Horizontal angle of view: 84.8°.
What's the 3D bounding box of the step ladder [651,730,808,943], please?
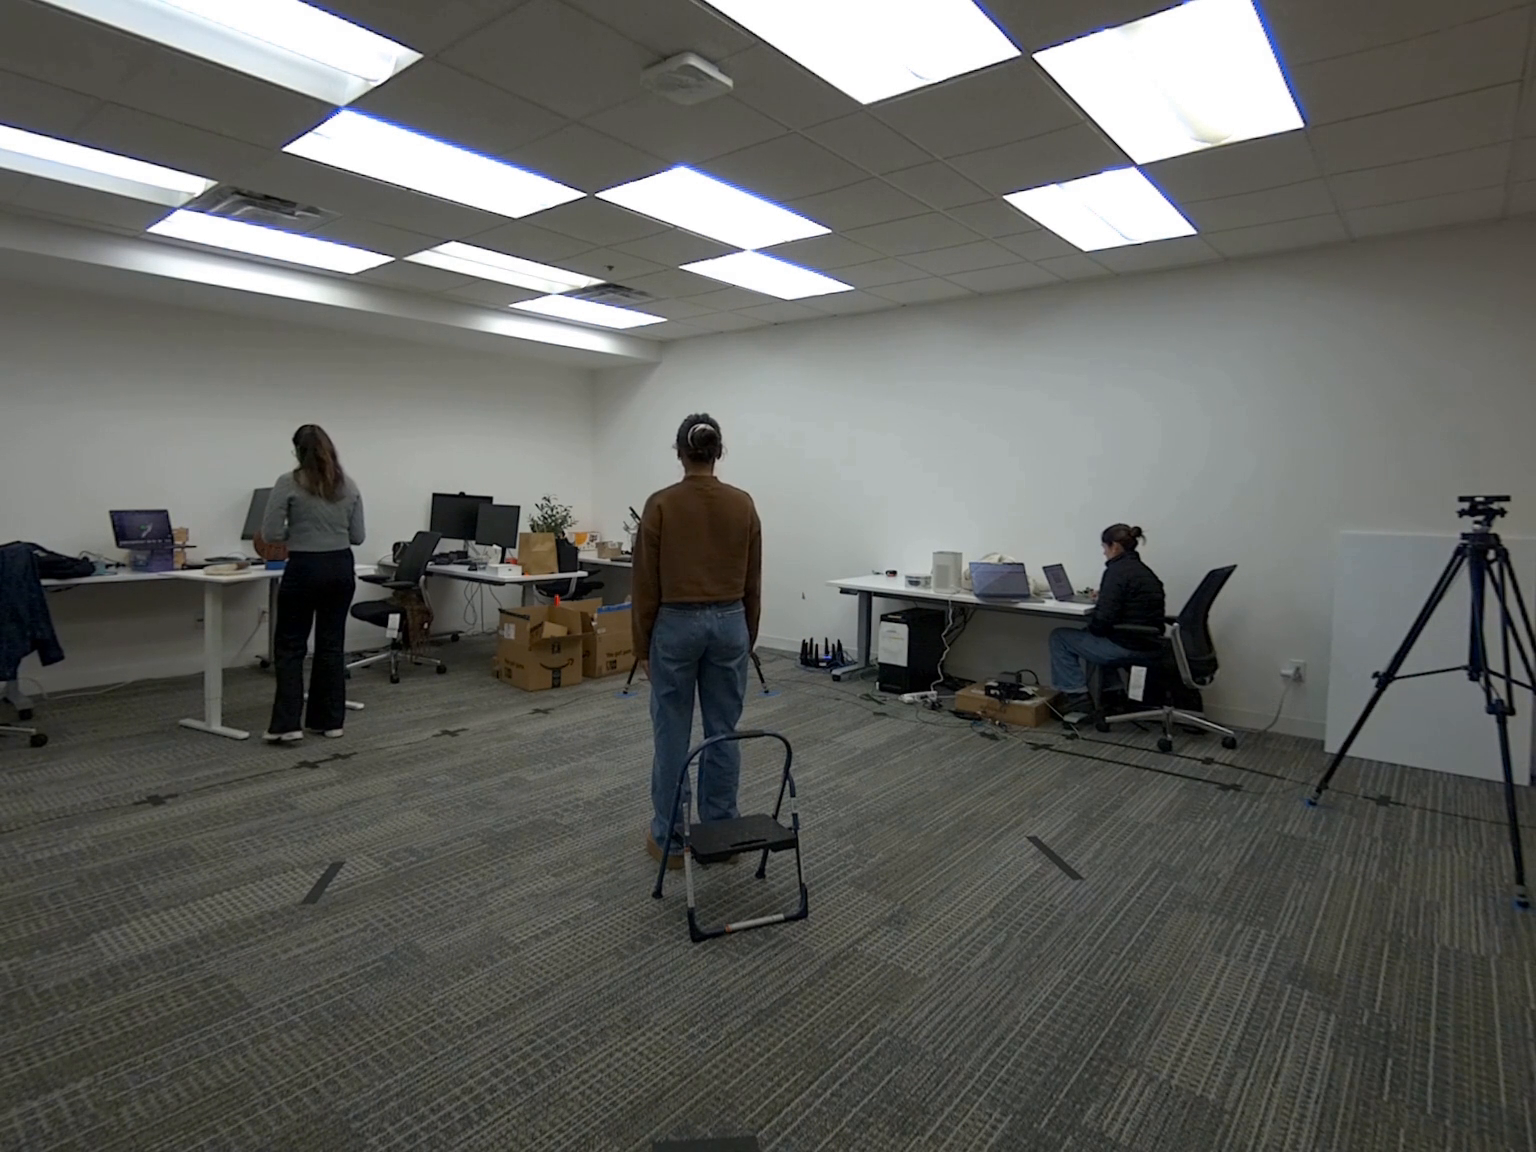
[{"bbox_3d":[-0.131,0.796,2.819,0.420,0.605,0.359,0,3,-27],"label":"step ladder"}]
